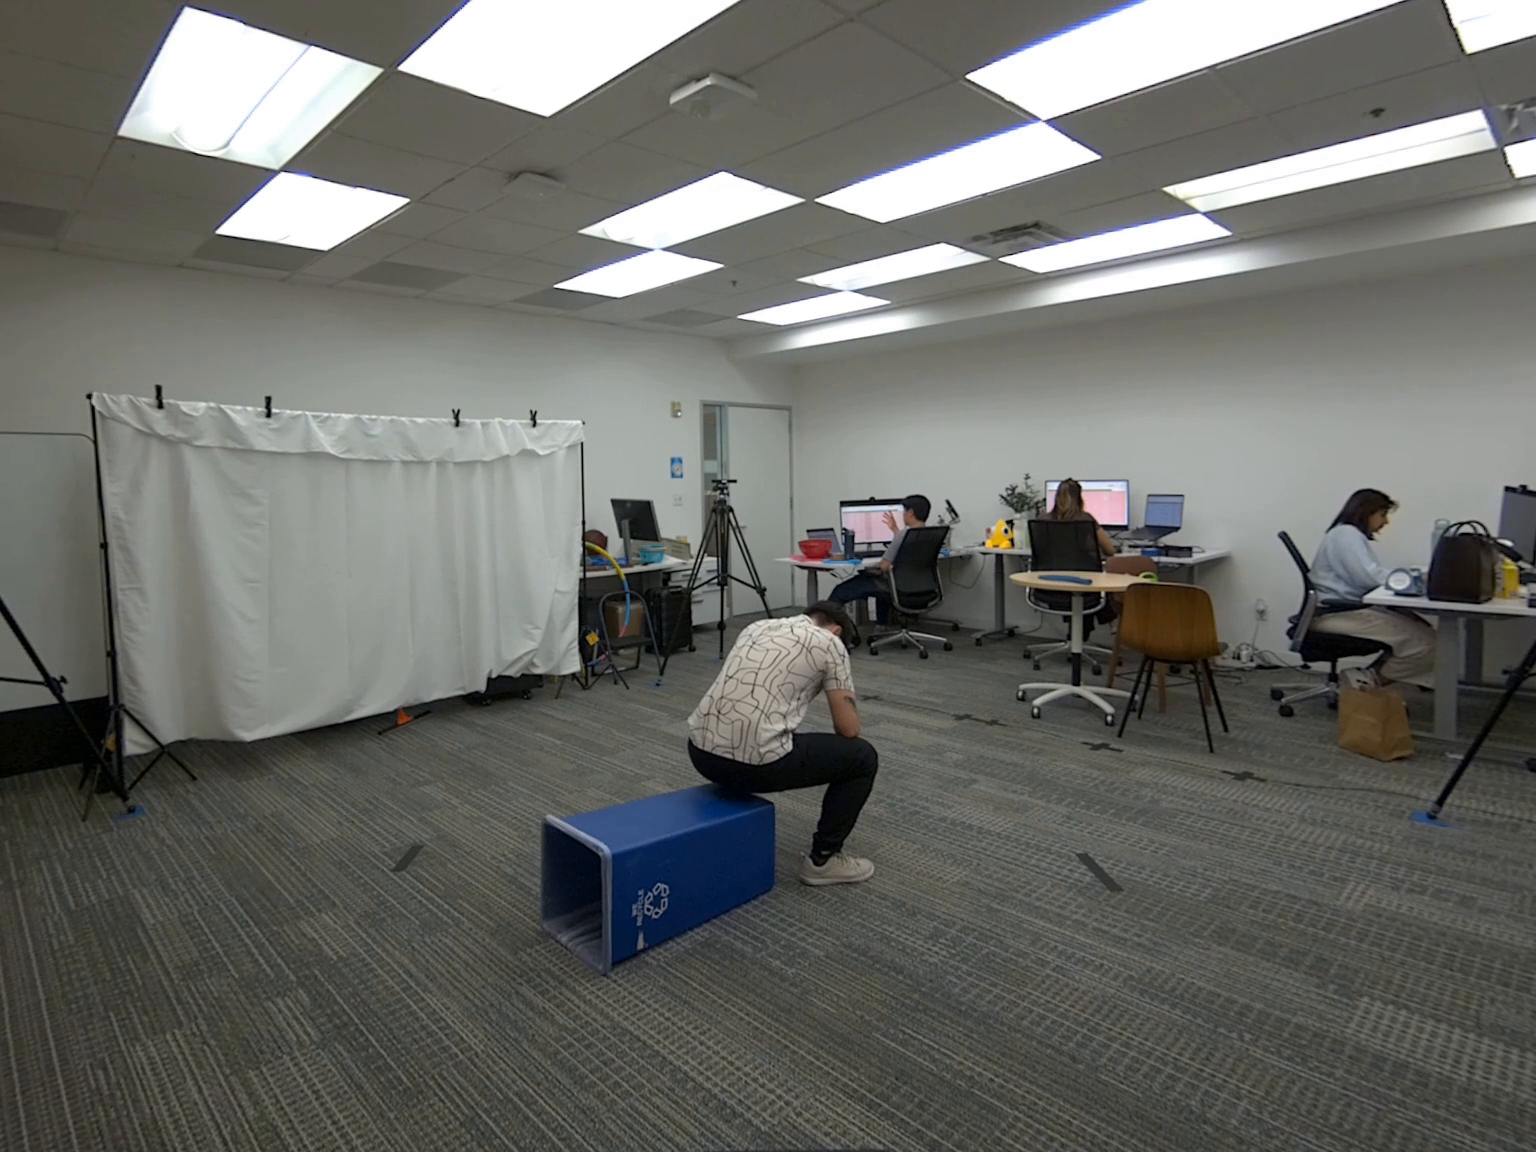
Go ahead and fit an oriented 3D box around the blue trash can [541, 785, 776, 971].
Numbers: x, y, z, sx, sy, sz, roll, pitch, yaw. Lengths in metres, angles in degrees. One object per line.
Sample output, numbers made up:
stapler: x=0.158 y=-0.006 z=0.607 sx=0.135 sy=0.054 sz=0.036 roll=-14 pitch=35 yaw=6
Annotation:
blue trash can: x=-0.324 y=0.918 z=2.778 sx=0.694 sy=0.377 sz=0.385 roll=-4 pitch=5 yaw=-42
